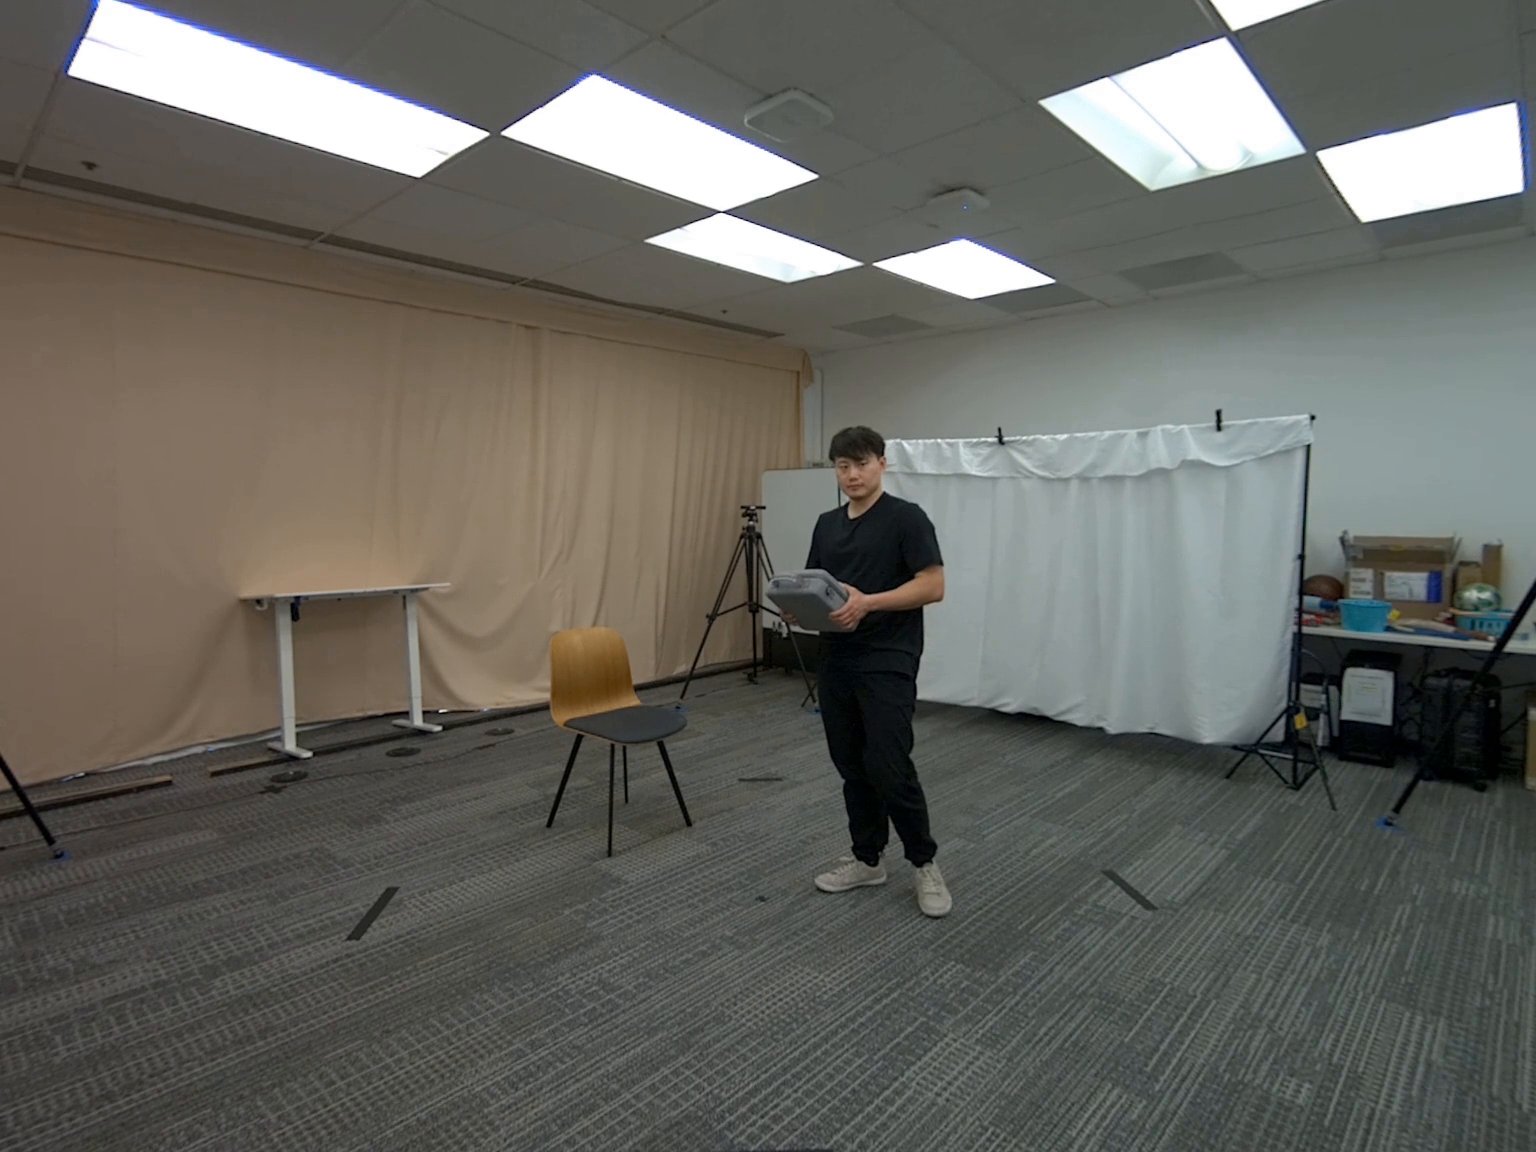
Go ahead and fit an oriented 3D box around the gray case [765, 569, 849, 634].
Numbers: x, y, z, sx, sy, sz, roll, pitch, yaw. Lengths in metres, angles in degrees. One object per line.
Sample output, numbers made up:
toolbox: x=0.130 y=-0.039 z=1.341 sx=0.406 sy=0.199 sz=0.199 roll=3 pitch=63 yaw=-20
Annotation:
gray case: x=0.160 y=0.079 z=2.859 sx=0.265 sy=0.105 sz=0.251 roll=-4 pitch=-33 yaw=44
